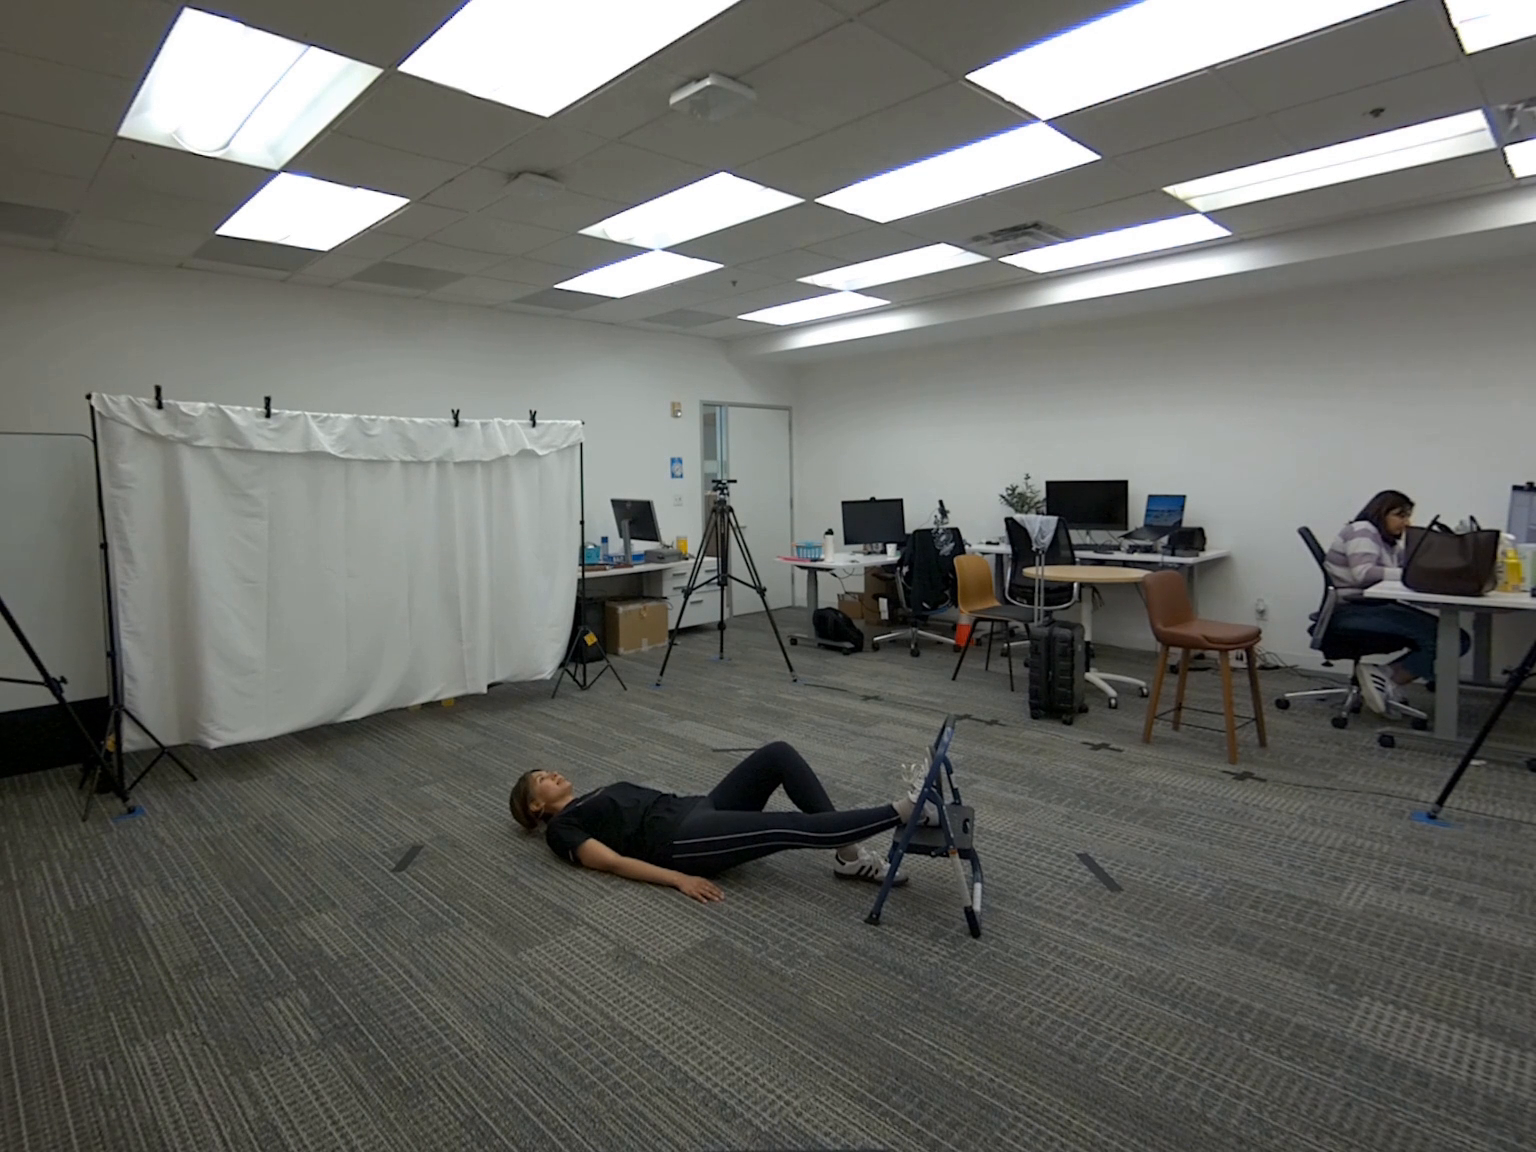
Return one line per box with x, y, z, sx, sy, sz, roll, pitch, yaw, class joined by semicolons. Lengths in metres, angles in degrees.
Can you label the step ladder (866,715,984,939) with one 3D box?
0.528;0.771;2.800;0.355;0.604;0.425;0;4;16;step ladder
